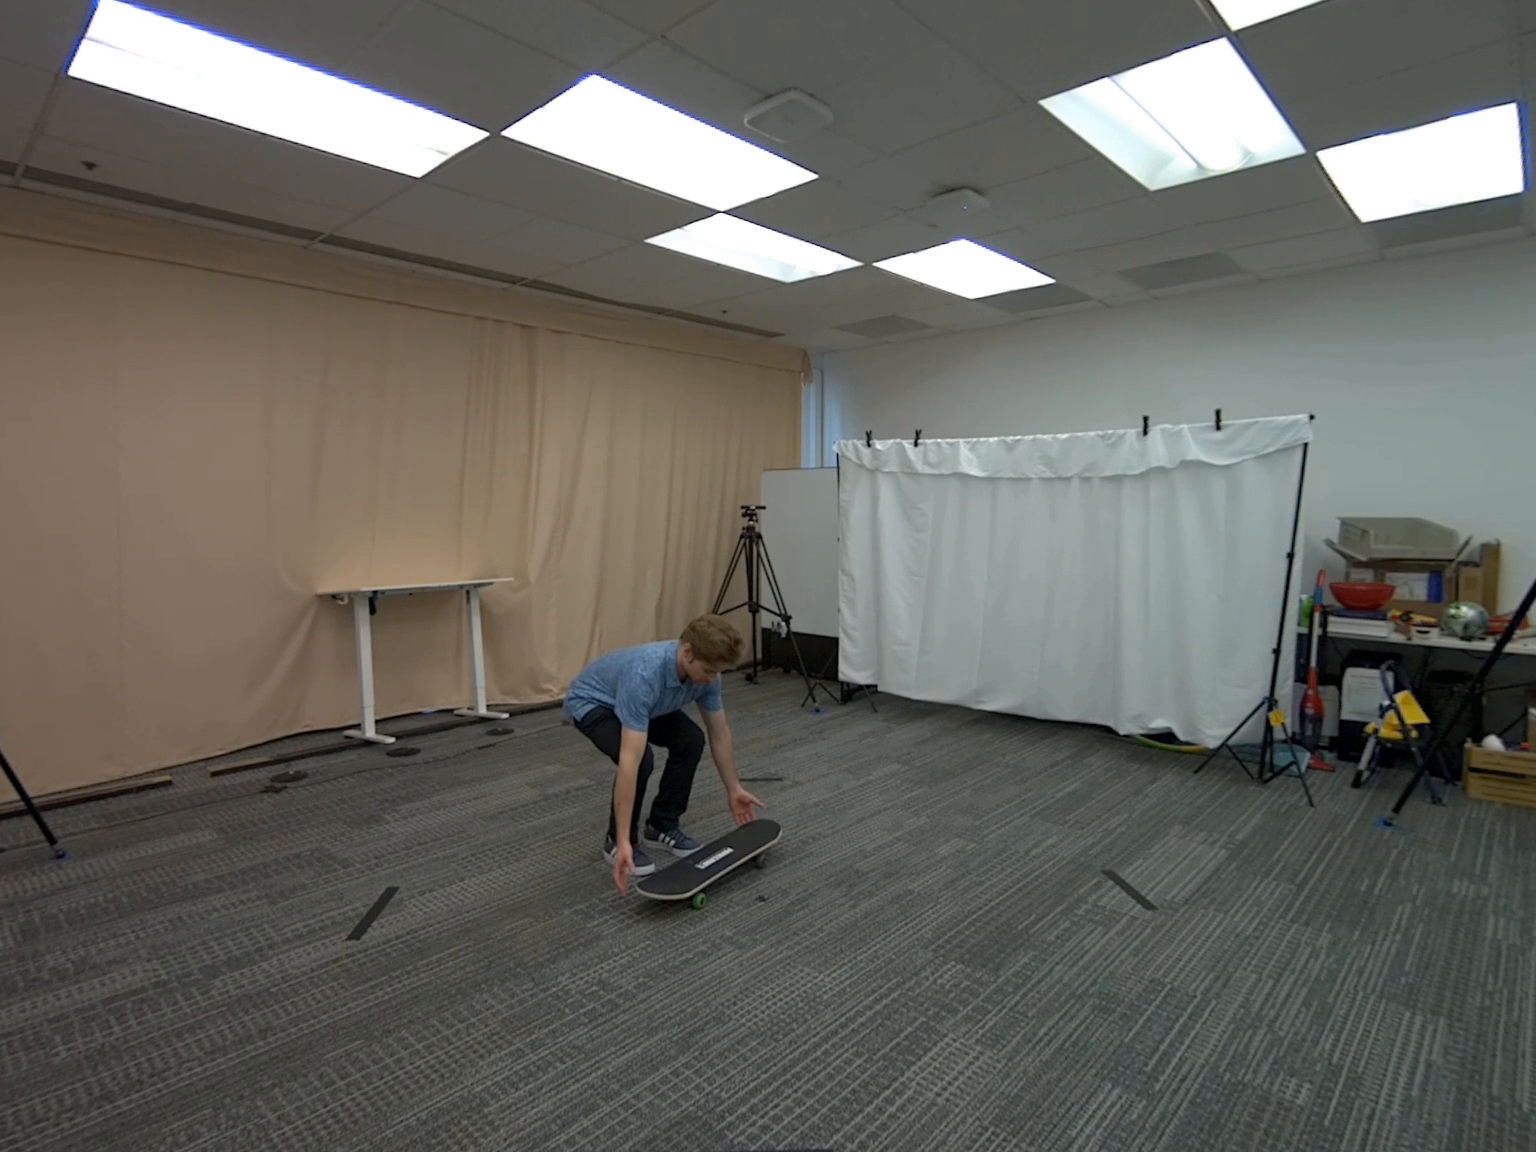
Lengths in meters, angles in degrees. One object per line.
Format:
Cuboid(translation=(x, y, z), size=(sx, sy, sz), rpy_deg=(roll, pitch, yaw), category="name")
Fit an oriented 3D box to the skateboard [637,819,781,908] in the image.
Cuboid(translation=(-0.199, 1.073, 3.123), size=(0.199, 0.110, 0.763), rpy_deg=(3, 6, 34), category="skateboard")
